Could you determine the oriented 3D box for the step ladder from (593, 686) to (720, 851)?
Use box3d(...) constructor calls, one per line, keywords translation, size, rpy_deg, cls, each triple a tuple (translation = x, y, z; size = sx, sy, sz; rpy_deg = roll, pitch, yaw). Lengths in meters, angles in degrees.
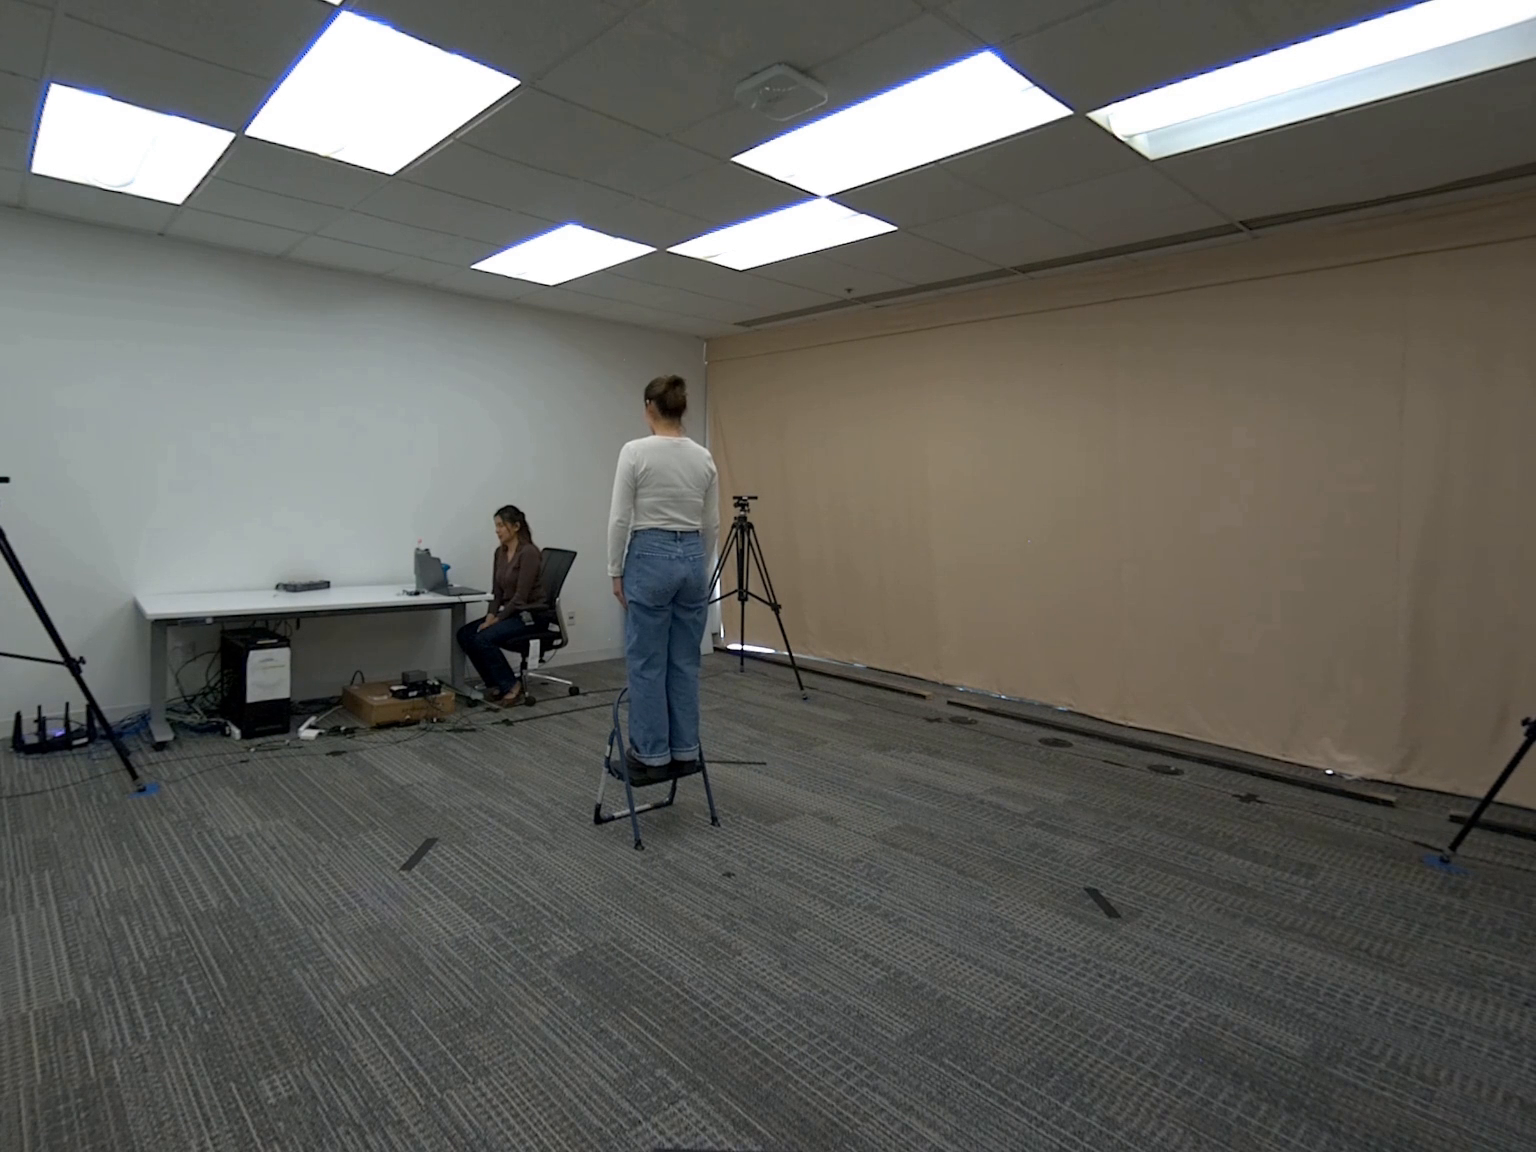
box3d(translation=(-0.471, 0.754, 3.553), size=(0.421, 0.605, 0.358), rpy_deg=(-2, 5, -44), cls="step ladder")
